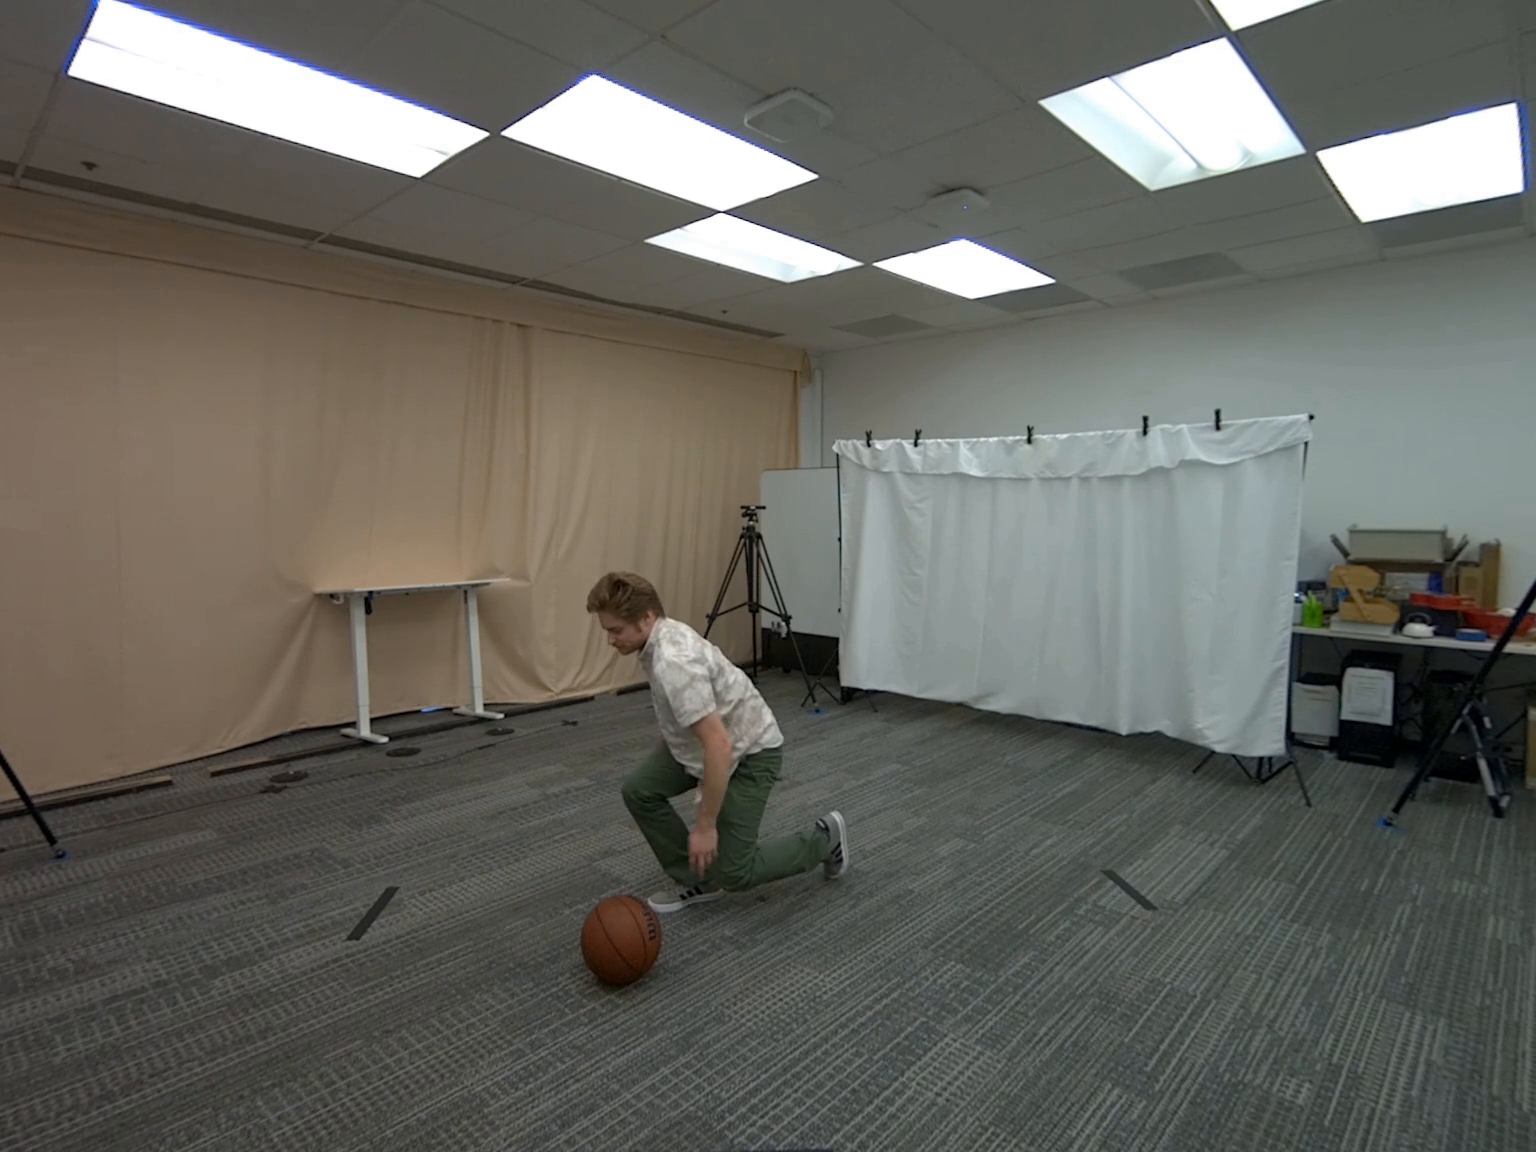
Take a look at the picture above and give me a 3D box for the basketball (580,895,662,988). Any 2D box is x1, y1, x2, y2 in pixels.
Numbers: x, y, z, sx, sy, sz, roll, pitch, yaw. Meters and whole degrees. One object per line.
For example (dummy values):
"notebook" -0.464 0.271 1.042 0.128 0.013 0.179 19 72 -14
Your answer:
"basketball" -0.428 1.063 2.481 0.236 0.235 0.237 0 4 -2
